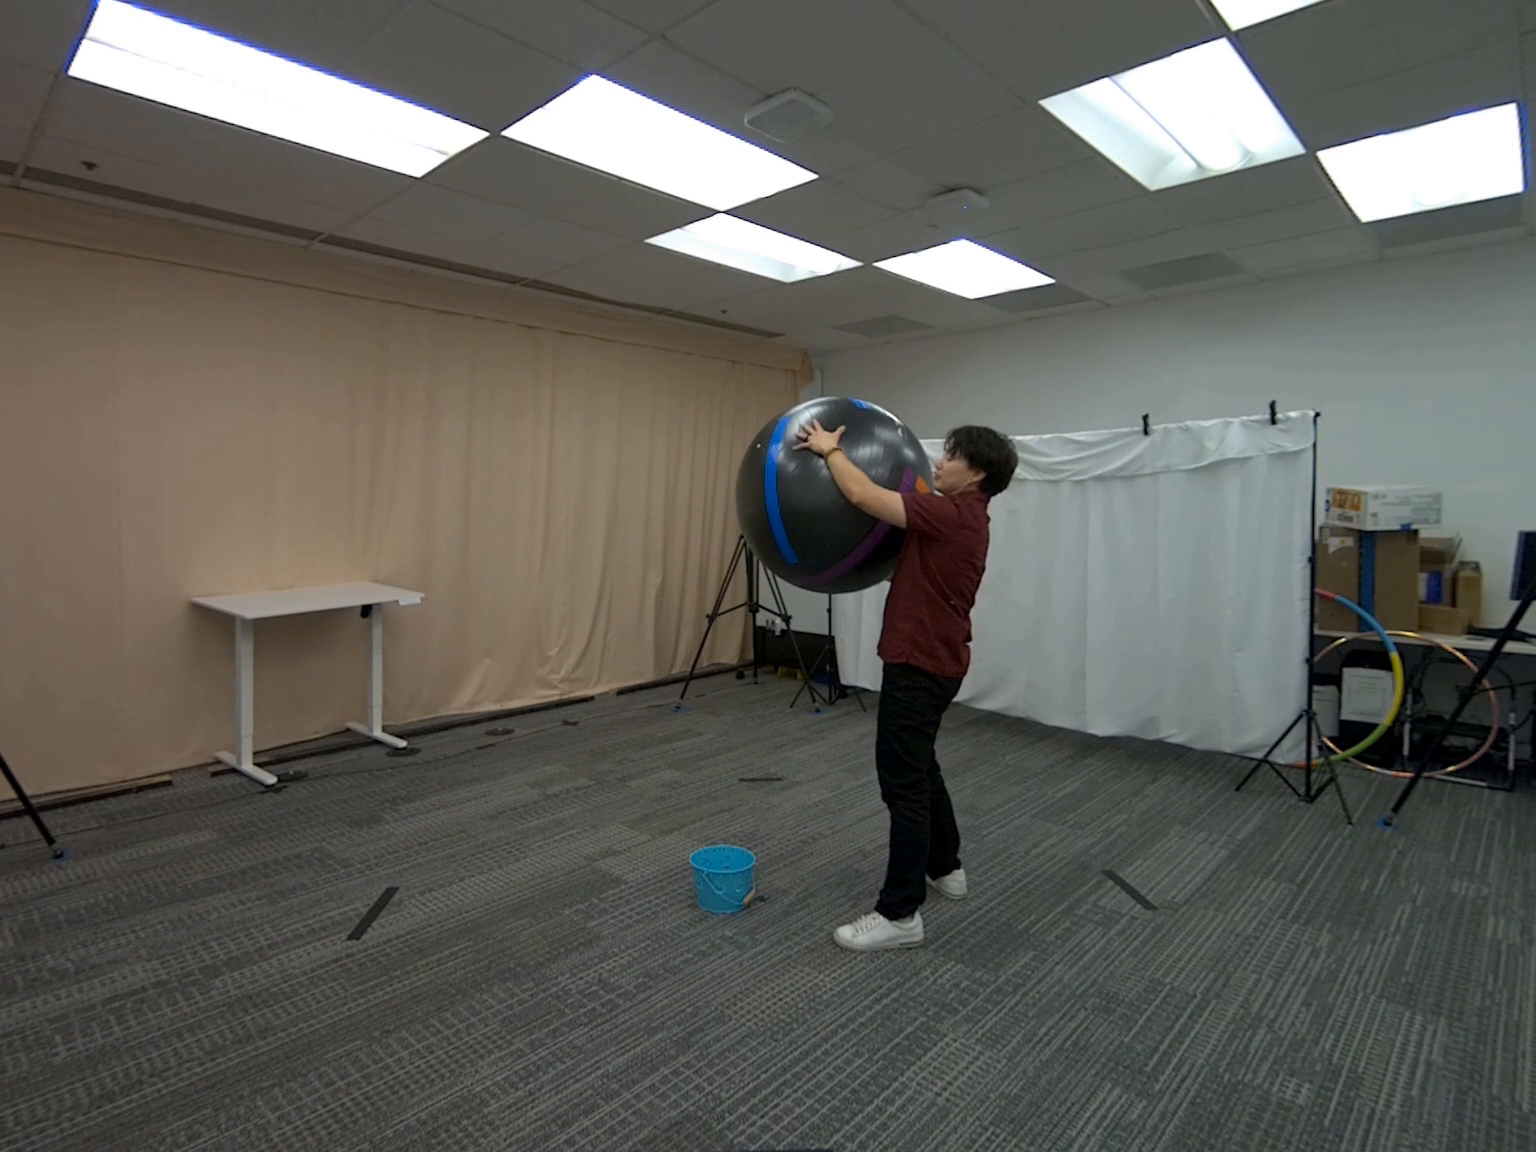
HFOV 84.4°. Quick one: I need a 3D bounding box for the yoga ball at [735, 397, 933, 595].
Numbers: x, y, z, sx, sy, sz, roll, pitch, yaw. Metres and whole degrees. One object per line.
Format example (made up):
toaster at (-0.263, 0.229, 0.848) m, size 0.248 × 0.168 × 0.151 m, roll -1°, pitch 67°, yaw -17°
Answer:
yoga ball at (0.255, -0.312, 3.254) m, size 0.757 × 0.756 × 0.760 m, roll 0°, pitch 4°, yaw -2°
